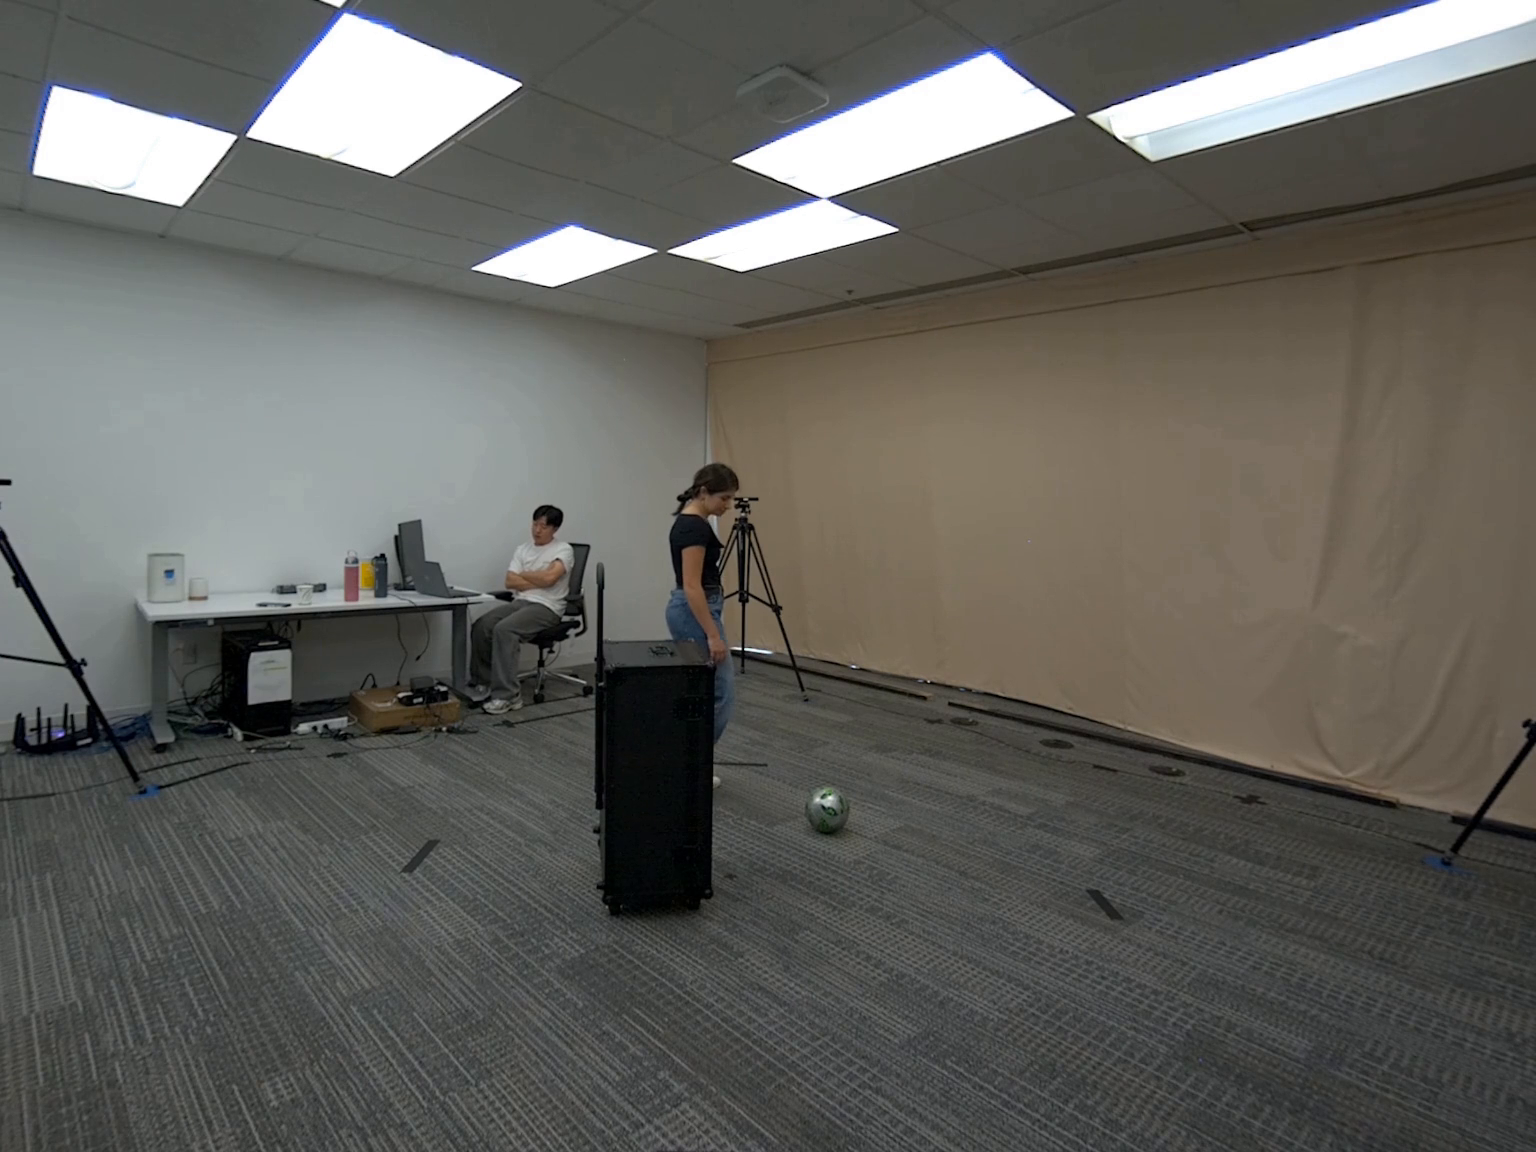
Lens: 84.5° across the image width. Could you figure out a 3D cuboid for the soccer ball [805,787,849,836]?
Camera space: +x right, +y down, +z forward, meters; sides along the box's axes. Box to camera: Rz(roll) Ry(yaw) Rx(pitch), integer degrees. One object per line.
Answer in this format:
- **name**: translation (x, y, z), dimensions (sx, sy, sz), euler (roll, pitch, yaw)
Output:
- **soccer ball**: translation (0.243, 0.990, 3.551), dimensions (0.187, 0.187, 0.188), euler (1, 4, -1)
